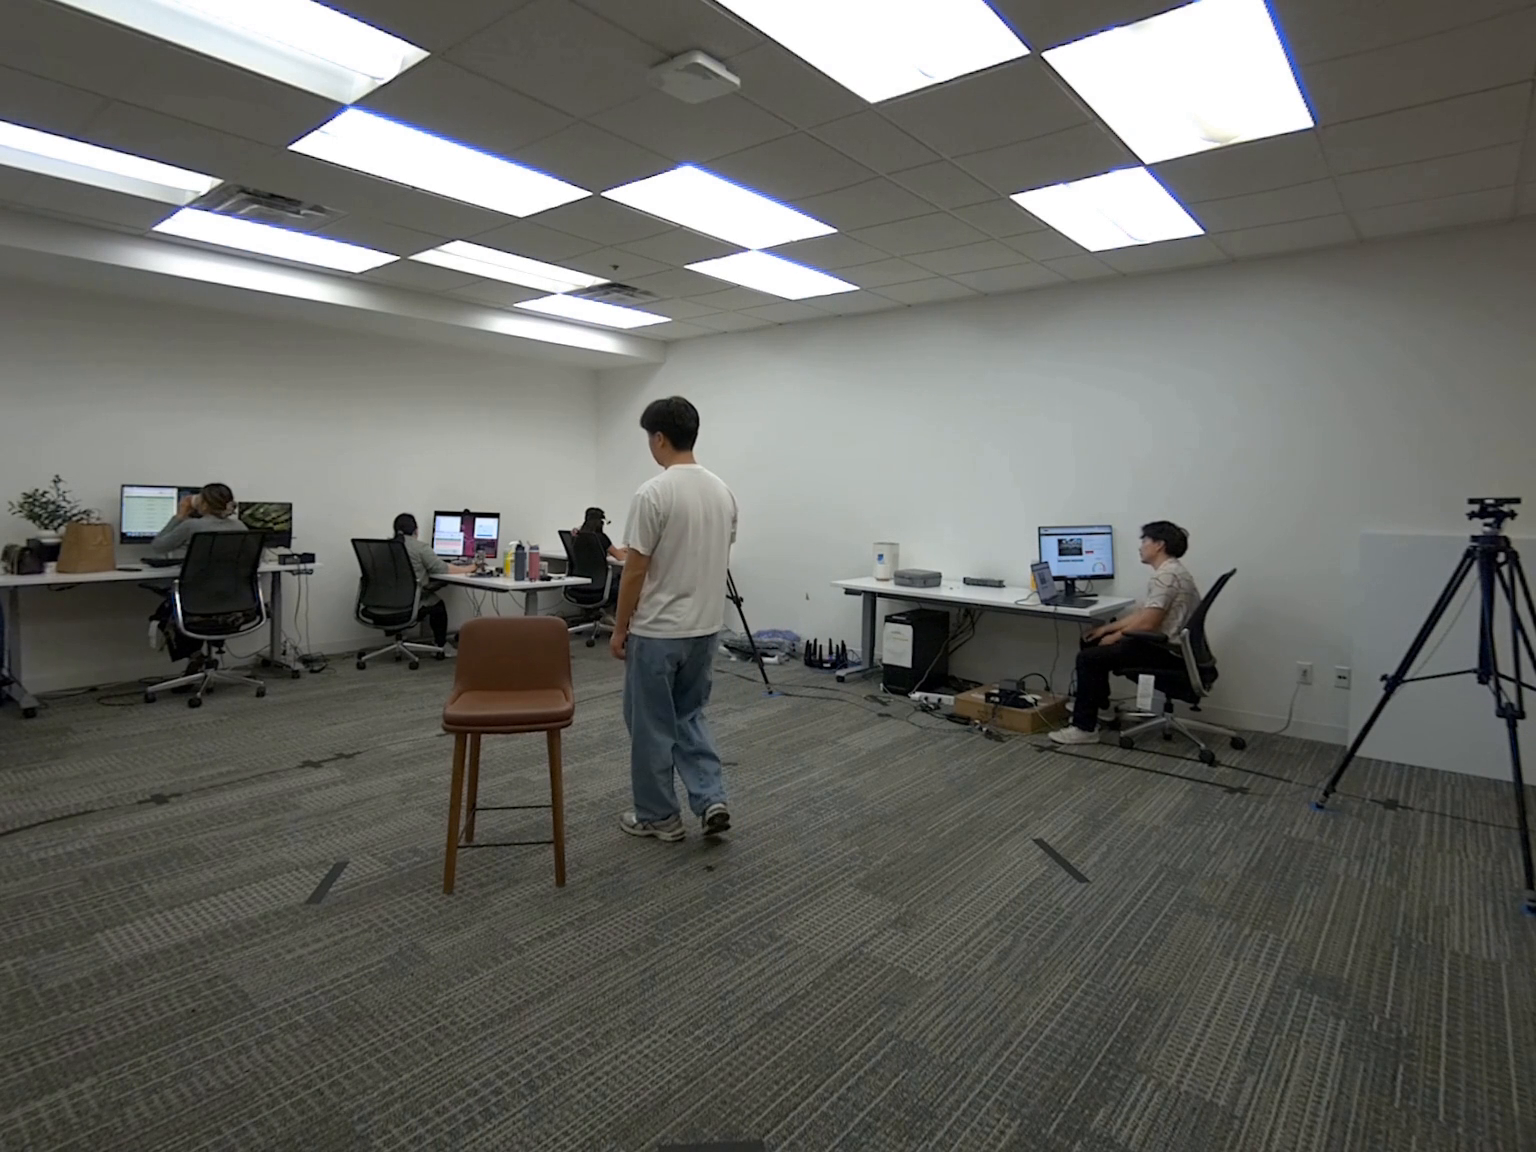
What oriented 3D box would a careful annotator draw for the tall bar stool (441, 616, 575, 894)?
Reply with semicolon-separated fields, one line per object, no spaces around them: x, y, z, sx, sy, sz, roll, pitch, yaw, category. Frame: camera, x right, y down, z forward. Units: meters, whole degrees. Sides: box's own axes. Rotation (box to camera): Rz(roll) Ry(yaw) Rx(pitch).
-0.956;0.619;3.116;0.451;0.889;0.473;0;1;-11;tall bar stool
